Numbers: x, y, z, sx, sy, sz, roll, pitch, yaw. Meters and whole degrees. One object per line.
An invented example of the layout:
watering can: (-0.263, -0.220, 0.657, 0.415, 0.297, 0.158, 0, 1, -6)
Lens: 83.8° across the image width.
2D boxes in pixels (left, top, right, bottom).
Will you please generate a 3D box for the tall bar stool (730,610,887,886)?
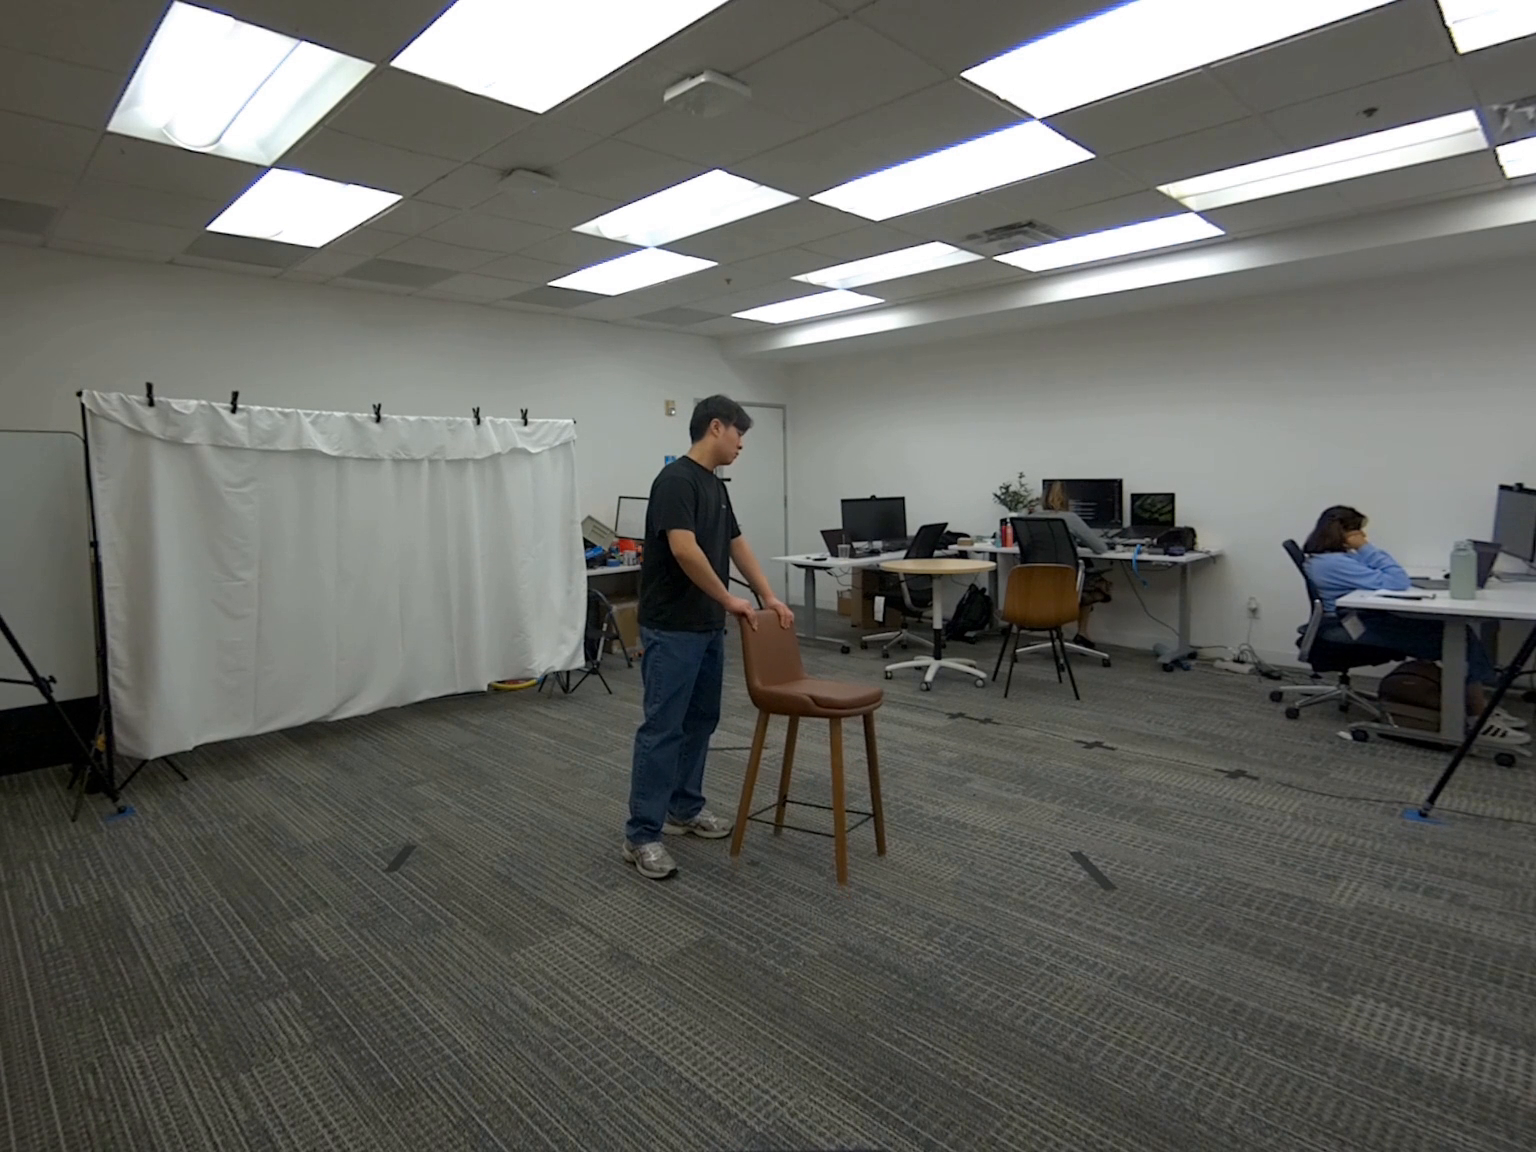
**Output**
tall bar stool: (0.158, 0.576, 3.129, 0.479, 0.893, 0.443, -2, -5, 30)
